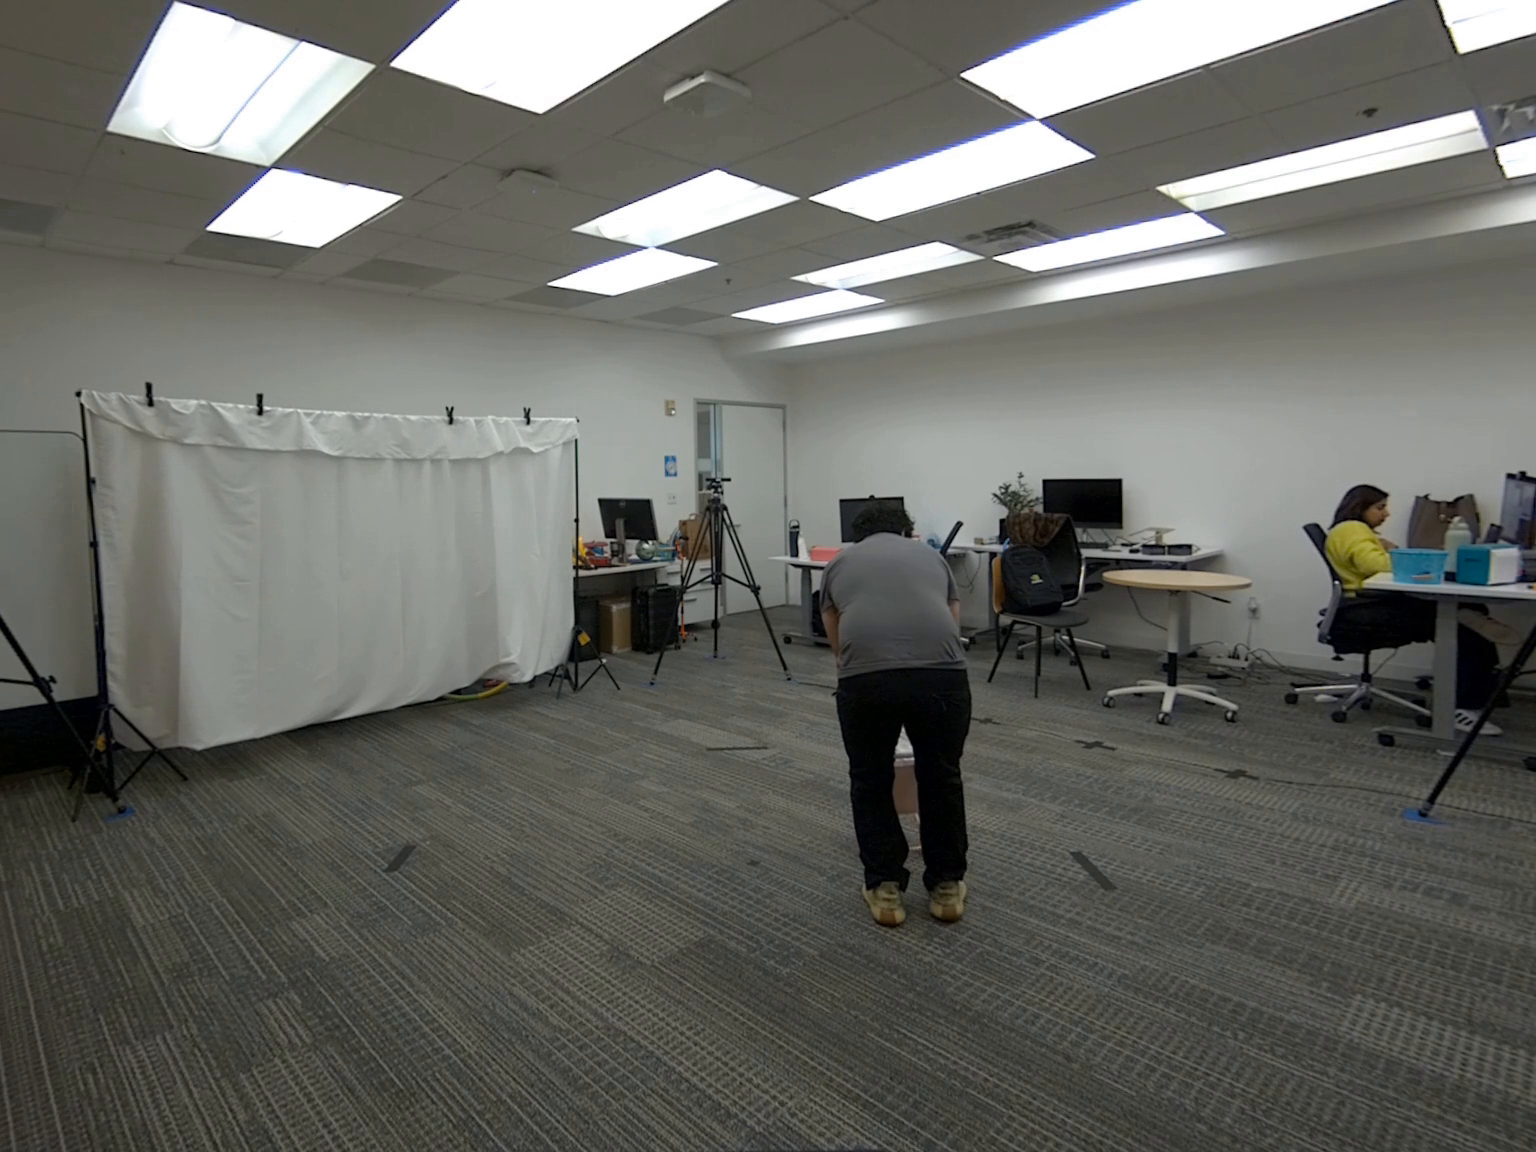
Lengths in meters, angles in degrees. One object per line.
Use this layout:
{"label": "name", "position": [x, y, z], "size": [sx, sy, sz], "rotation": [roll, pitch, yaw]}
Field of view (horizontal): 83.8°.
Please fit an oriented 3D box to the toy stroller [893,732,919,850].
{"label": "toy stroller", "position": [0.476, 0.796, 3.205], "size": [0.281, 0.526, 0.348], "rotation": [-2, 19, -4]}
